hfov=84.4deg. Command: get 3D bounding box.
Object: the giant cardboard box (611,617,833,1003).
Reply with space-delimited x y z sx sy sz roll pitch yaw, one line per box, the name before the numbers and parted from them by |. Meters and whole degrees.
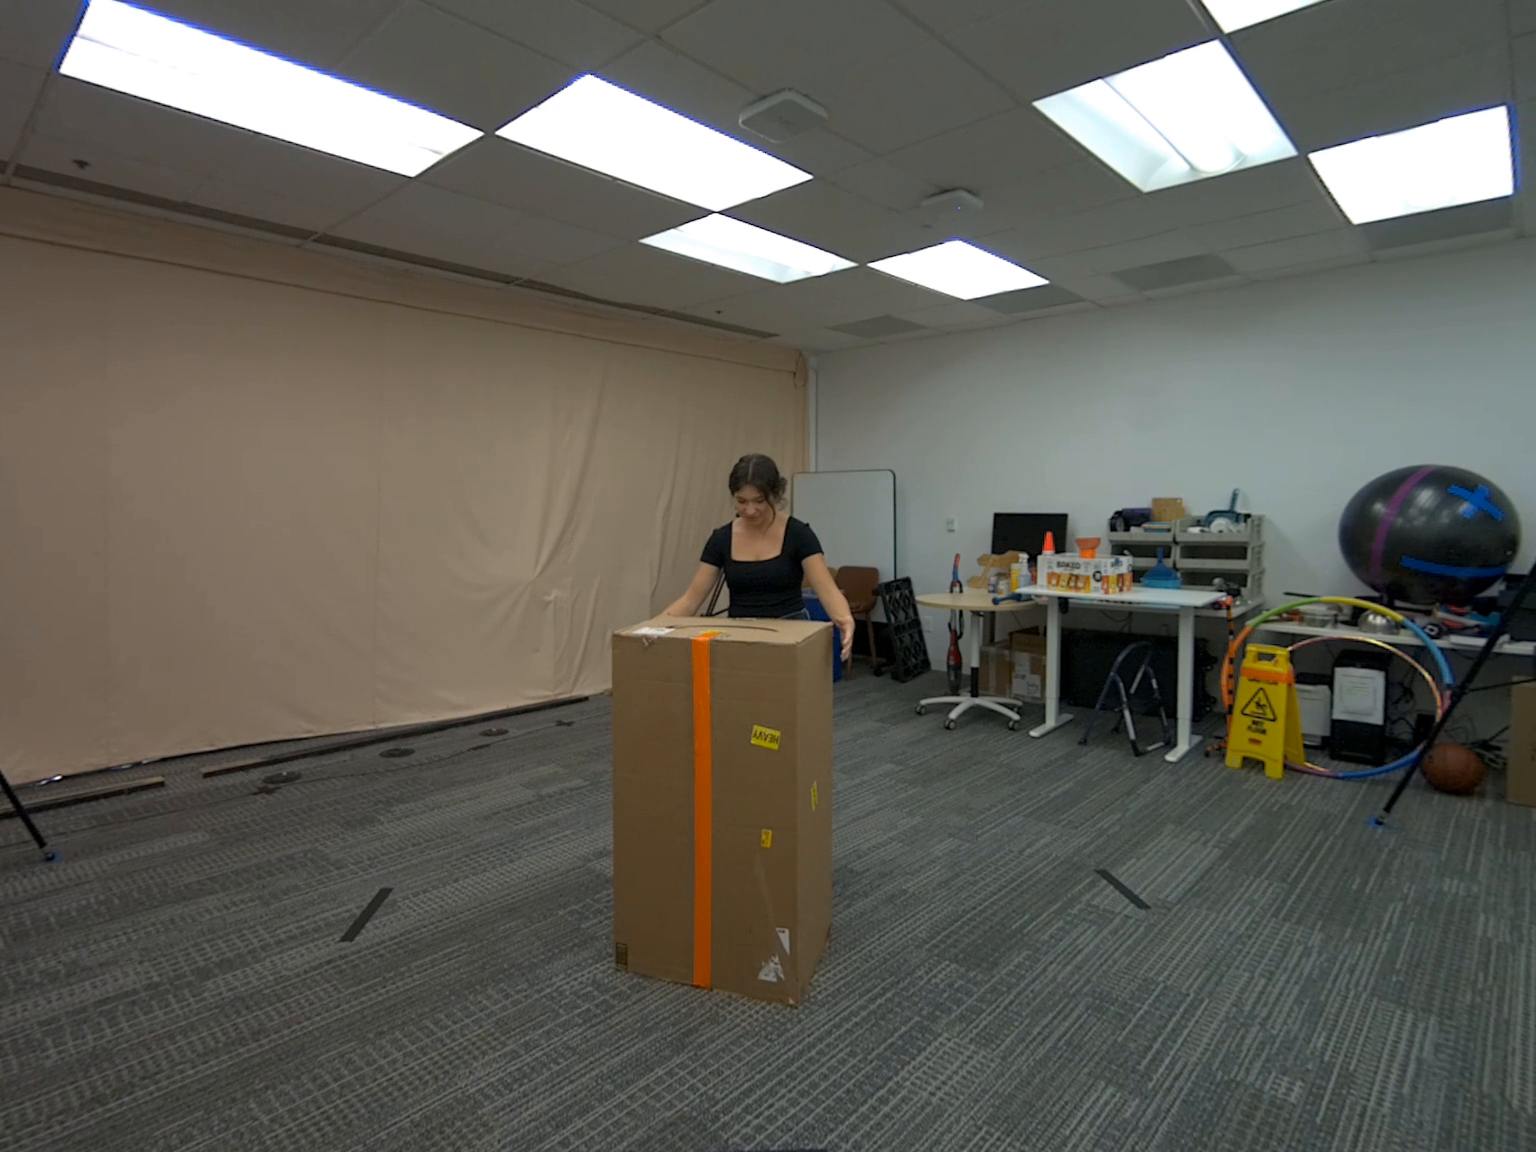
giant cardboard box | -0.134 0.668 2.602 0.590 1.024 0.418 1 3 20
